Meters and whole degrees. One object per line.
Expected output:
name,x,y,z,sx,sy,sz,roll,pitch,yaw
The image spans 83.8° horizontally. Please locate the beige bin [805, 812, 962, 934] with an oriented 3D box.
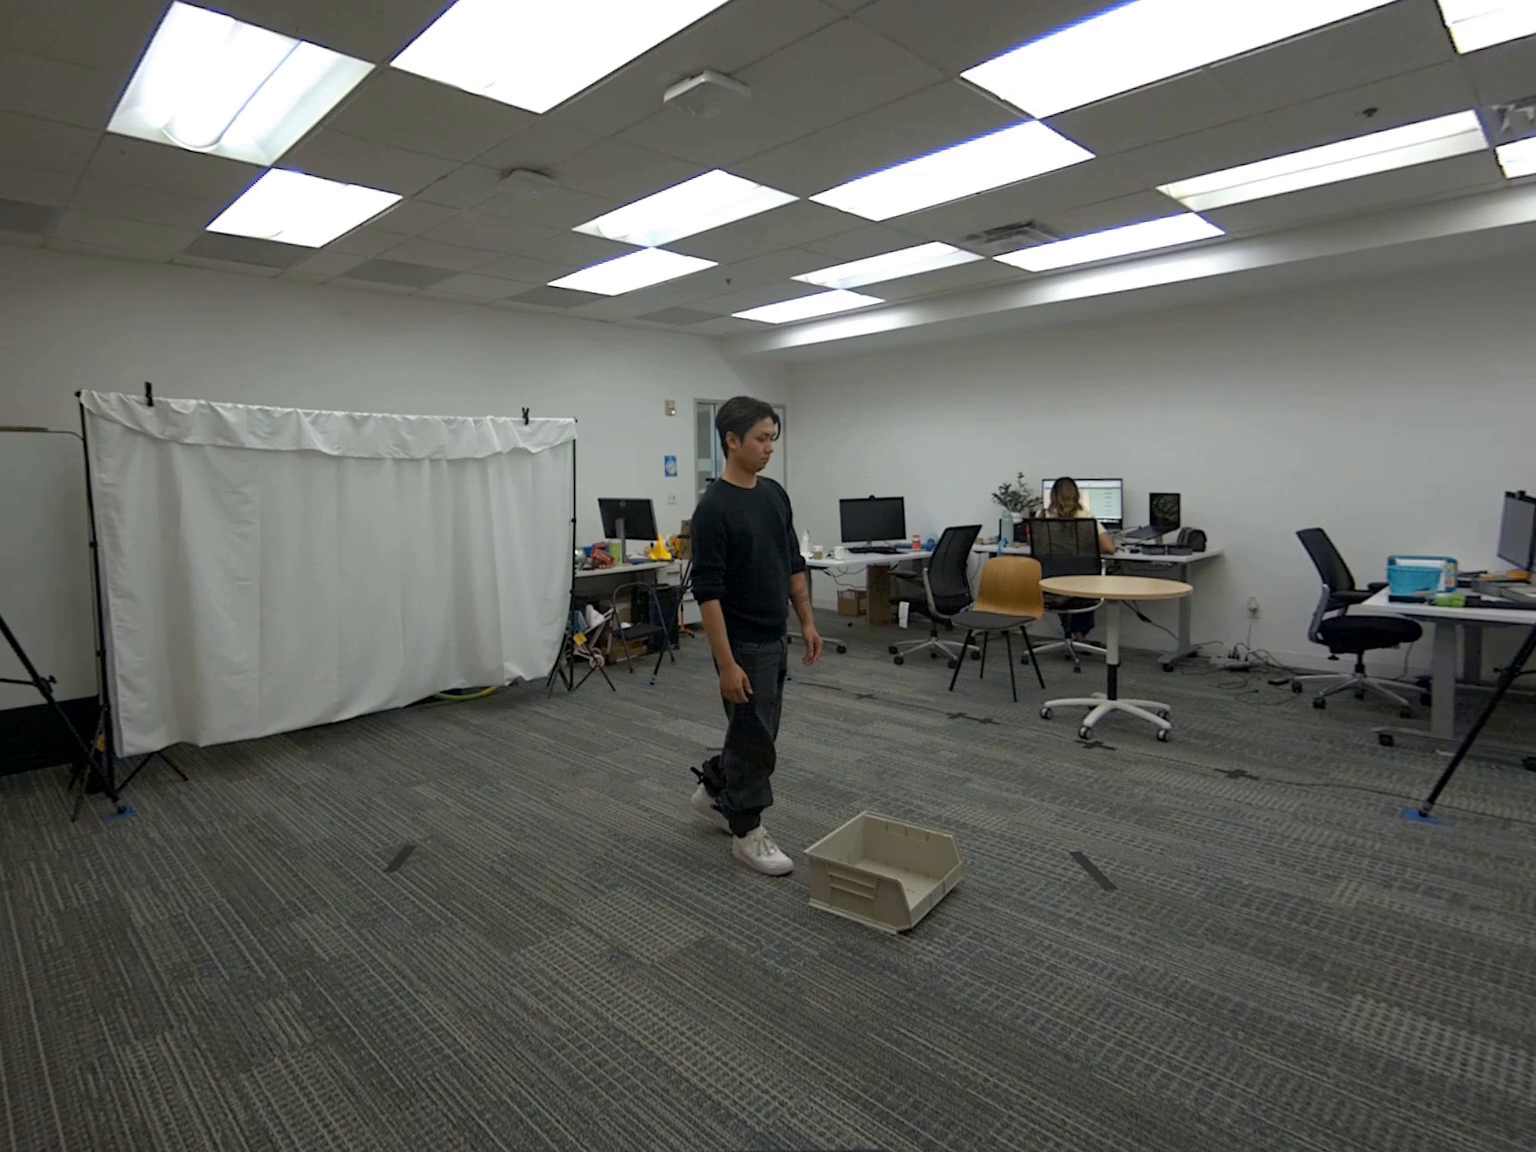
beige bin,0.394,0.979,2.835,0.388,0.188,0.412,2,7,36
